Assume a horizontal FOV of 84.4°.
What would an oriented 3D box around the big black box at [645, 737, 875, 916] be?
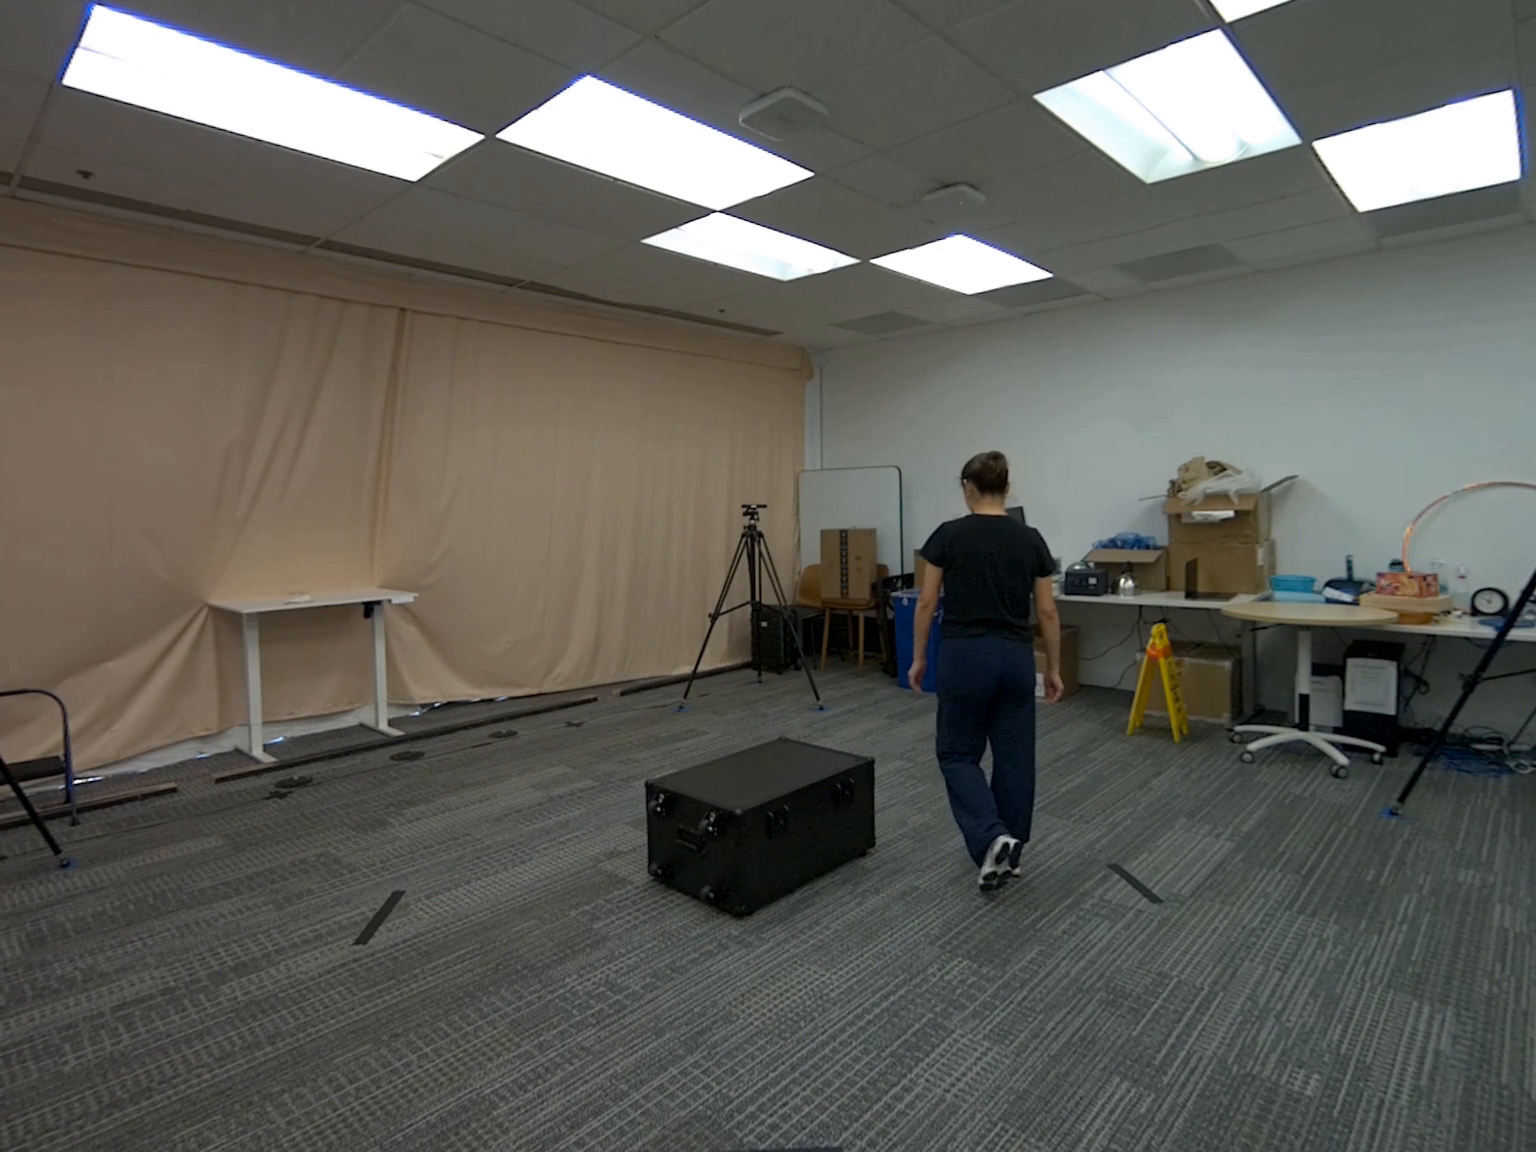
[{"bbox_3d":[-0.021,0.929,3.216,0.538,0.395,0.835,3,5,43],"label":"big black box"}]
